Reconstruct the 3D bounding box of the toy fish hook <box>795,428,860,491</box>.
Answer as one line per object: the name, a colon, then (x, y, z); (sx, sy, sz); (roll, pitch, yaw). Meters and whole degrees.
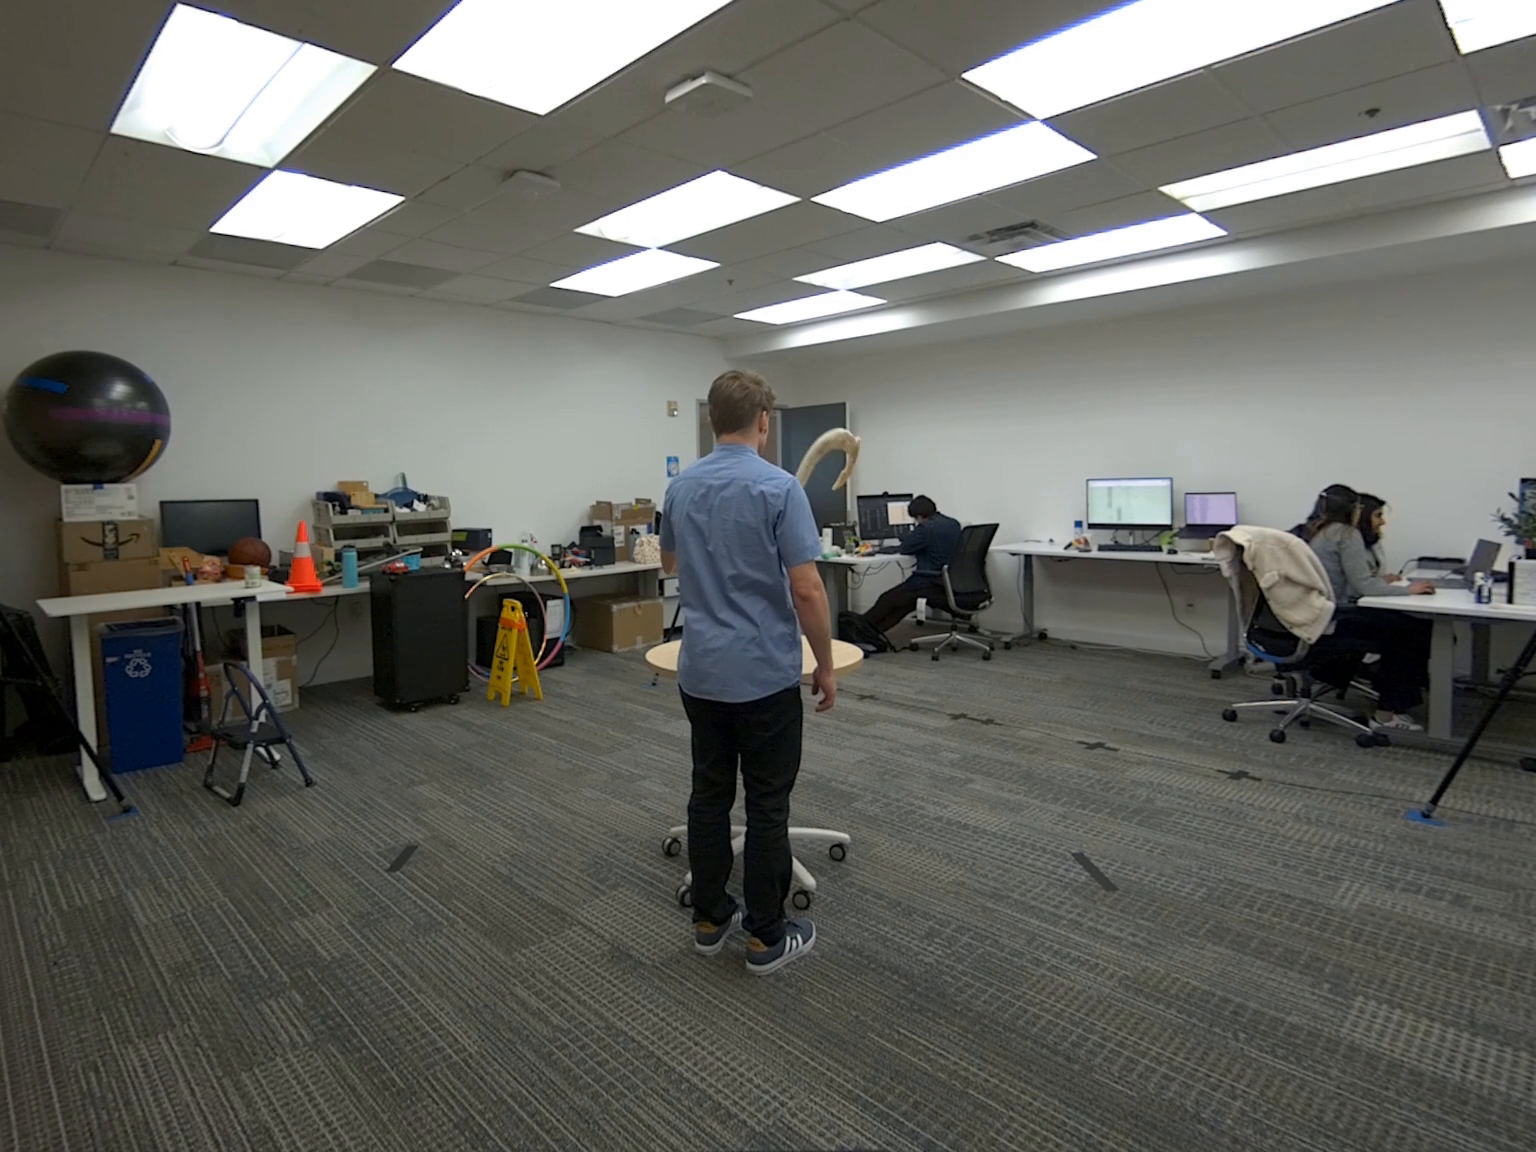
toy fish hook: (0.130, -0.262, 2.880); (0.216, 0.505, 0.050); (23, 17, -40)
